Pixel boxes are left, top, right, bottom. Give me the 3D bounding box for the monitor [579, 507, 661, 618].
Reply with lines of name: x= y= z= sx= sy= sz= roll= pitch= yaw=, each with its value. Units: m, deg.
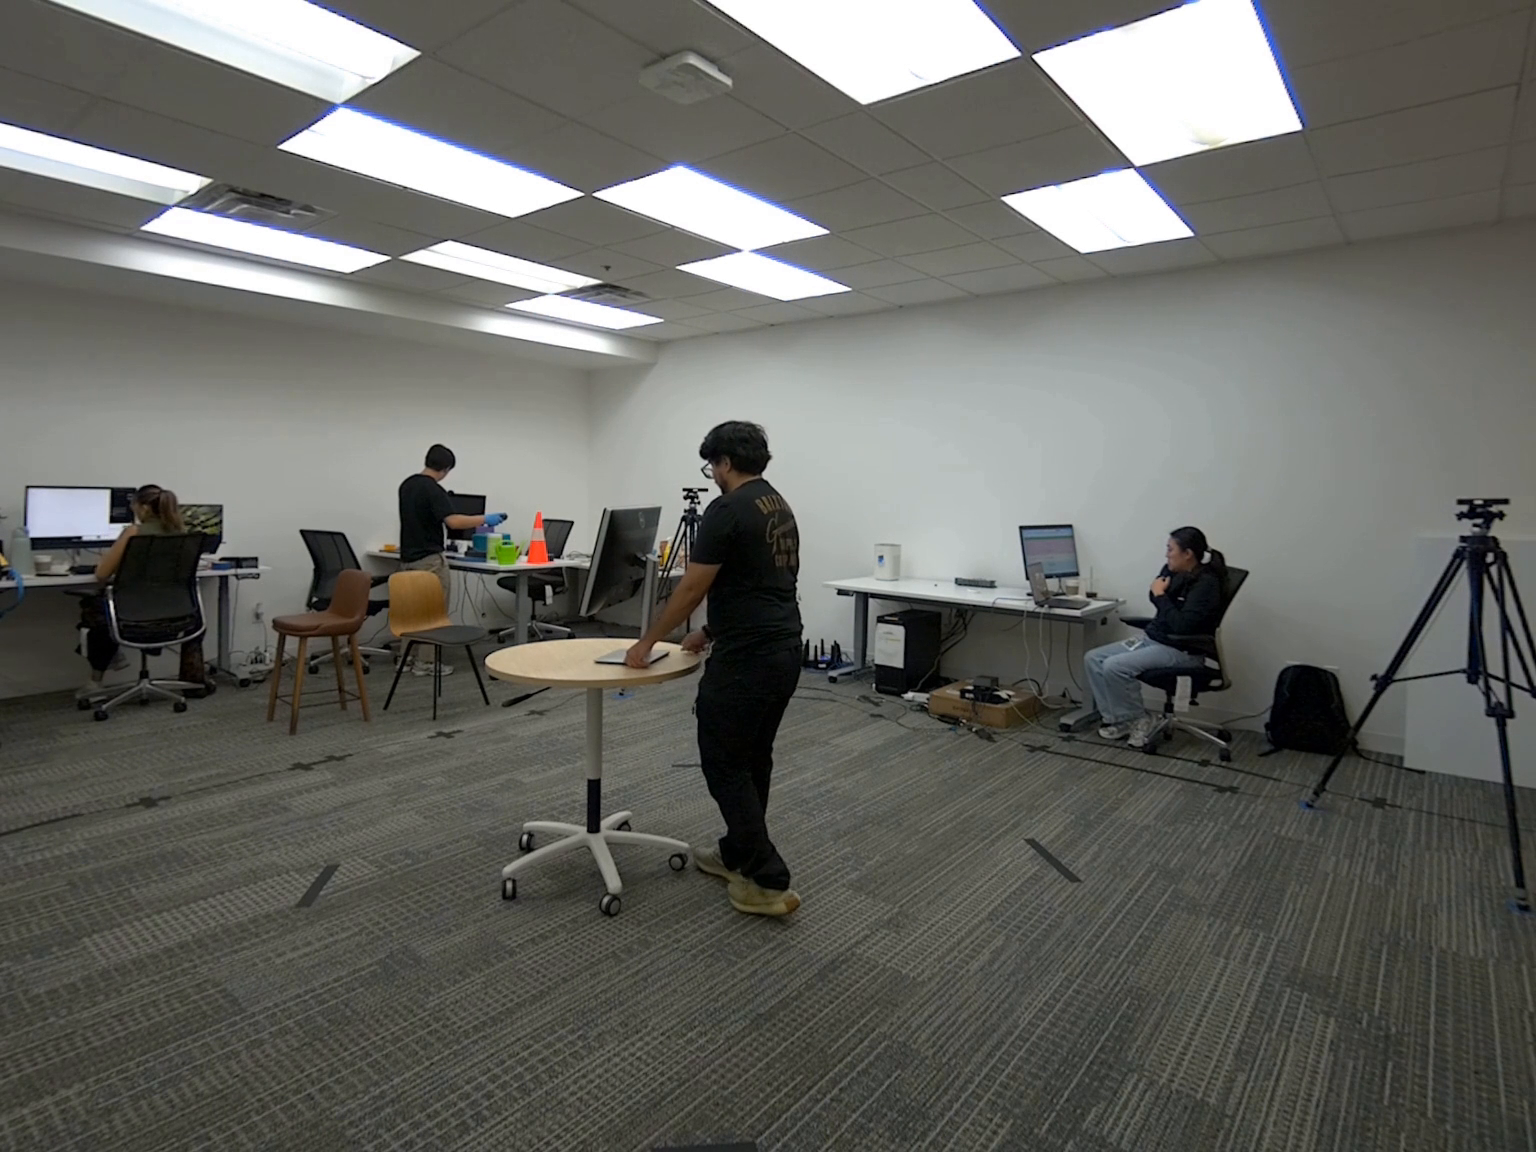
monitor: x=-0.466 y=0.028 z=3.014 sx=0.213 sy=0.552 sz=0.559 roll=8 pitch=5 yaw=11
